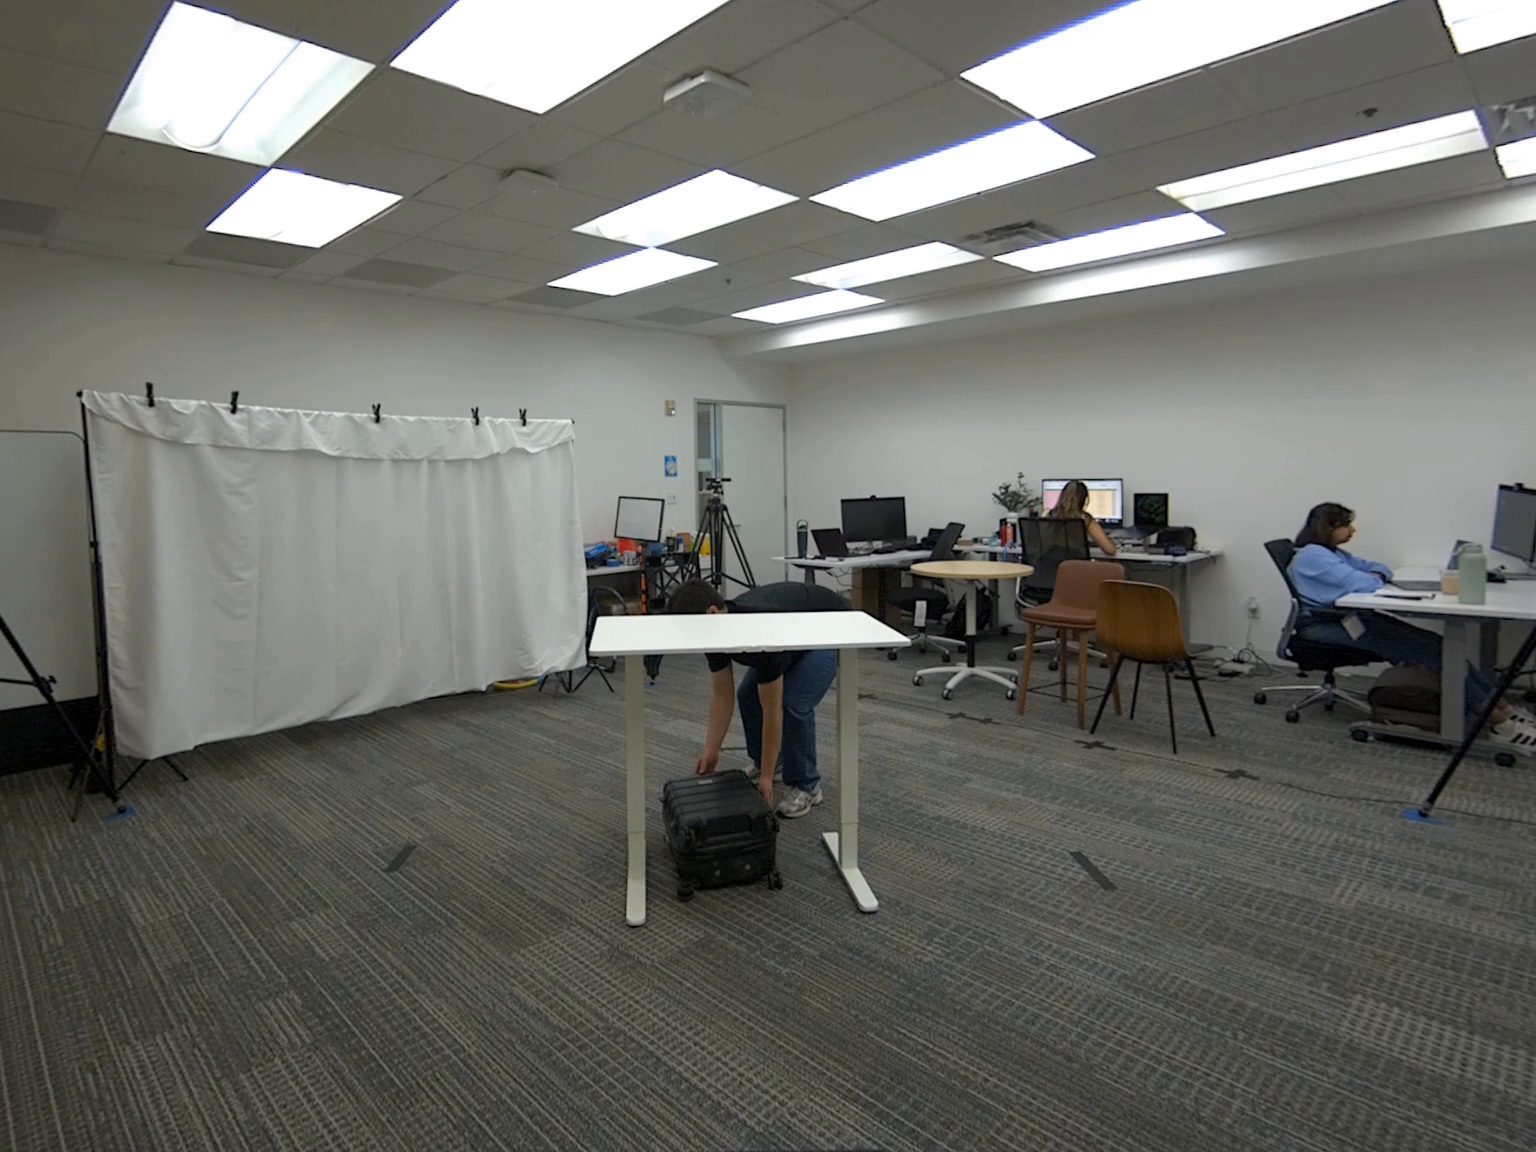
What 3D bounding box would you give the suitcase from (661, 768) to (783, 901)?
[{"bbox_3d":[-0.232,0.891,3.329,0.380,0.255,0.995,-4,8,-13],"label":"suitcase"}]
